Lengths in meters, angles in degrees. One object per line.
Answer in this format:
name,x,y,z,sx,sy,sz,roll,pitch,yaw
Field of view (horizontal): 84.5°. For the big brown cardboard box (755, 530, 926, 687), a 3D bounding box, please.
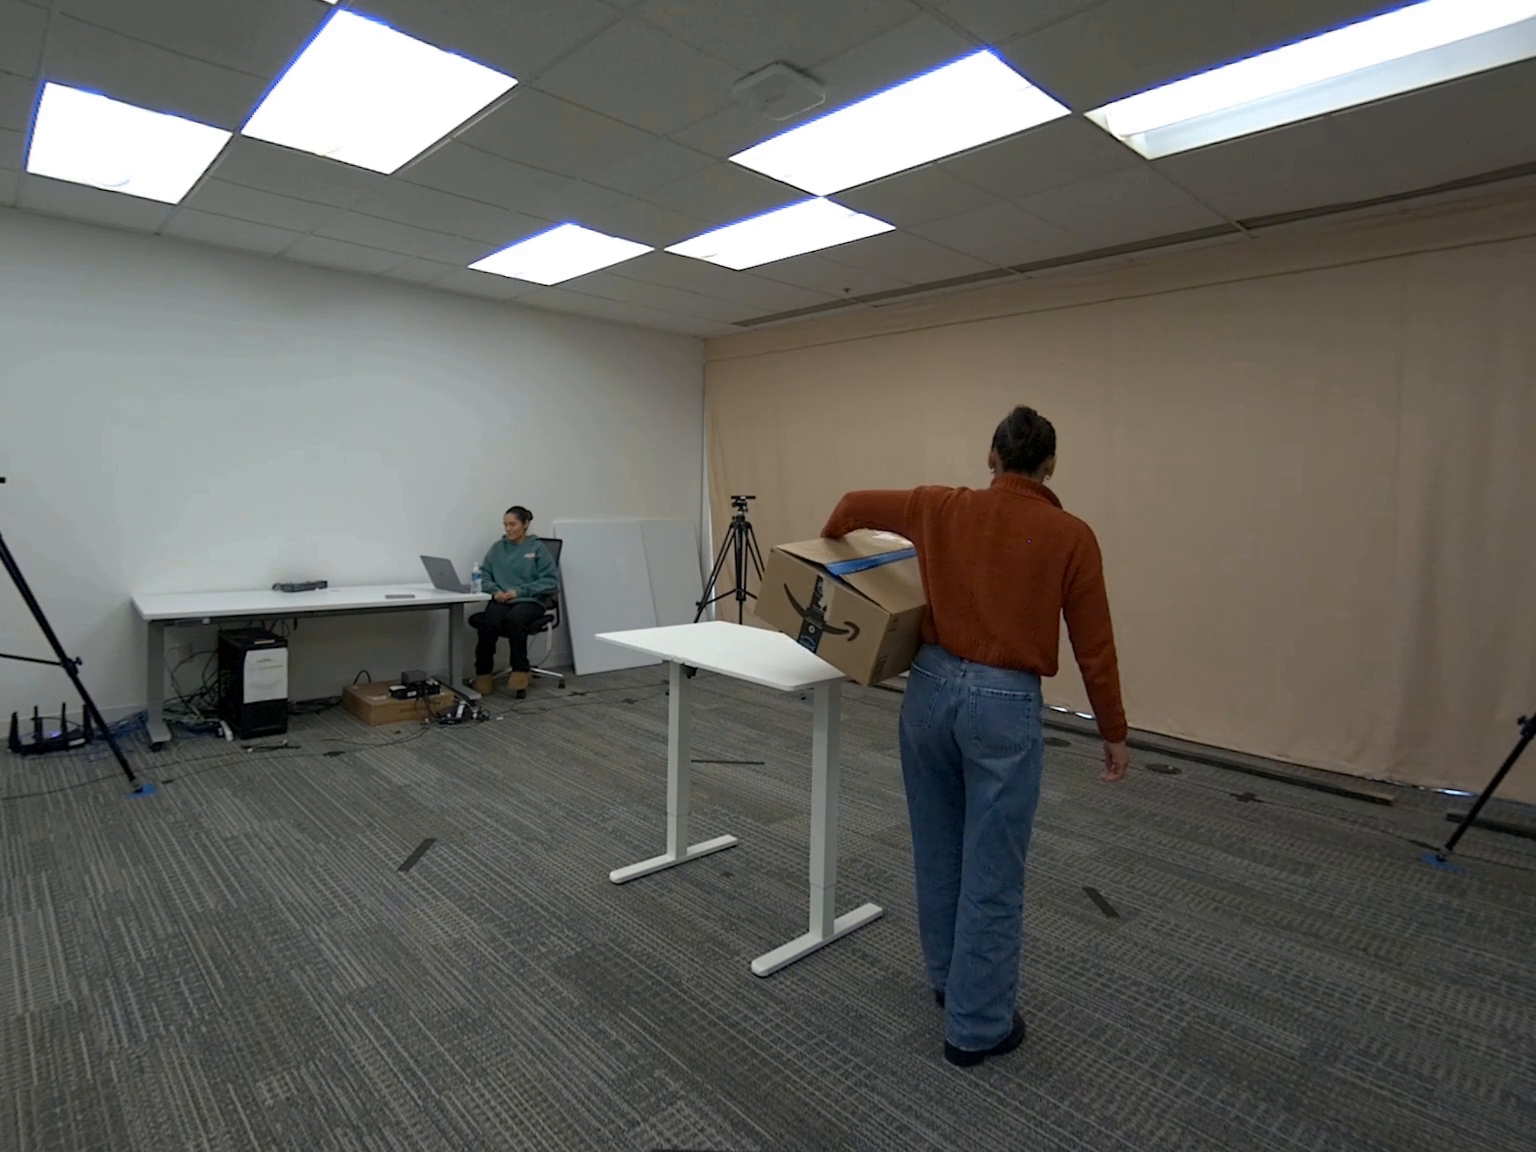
big brown cardboard box,0.313,0.067,2.428,0.430,0.230,0.578,30,27,35
